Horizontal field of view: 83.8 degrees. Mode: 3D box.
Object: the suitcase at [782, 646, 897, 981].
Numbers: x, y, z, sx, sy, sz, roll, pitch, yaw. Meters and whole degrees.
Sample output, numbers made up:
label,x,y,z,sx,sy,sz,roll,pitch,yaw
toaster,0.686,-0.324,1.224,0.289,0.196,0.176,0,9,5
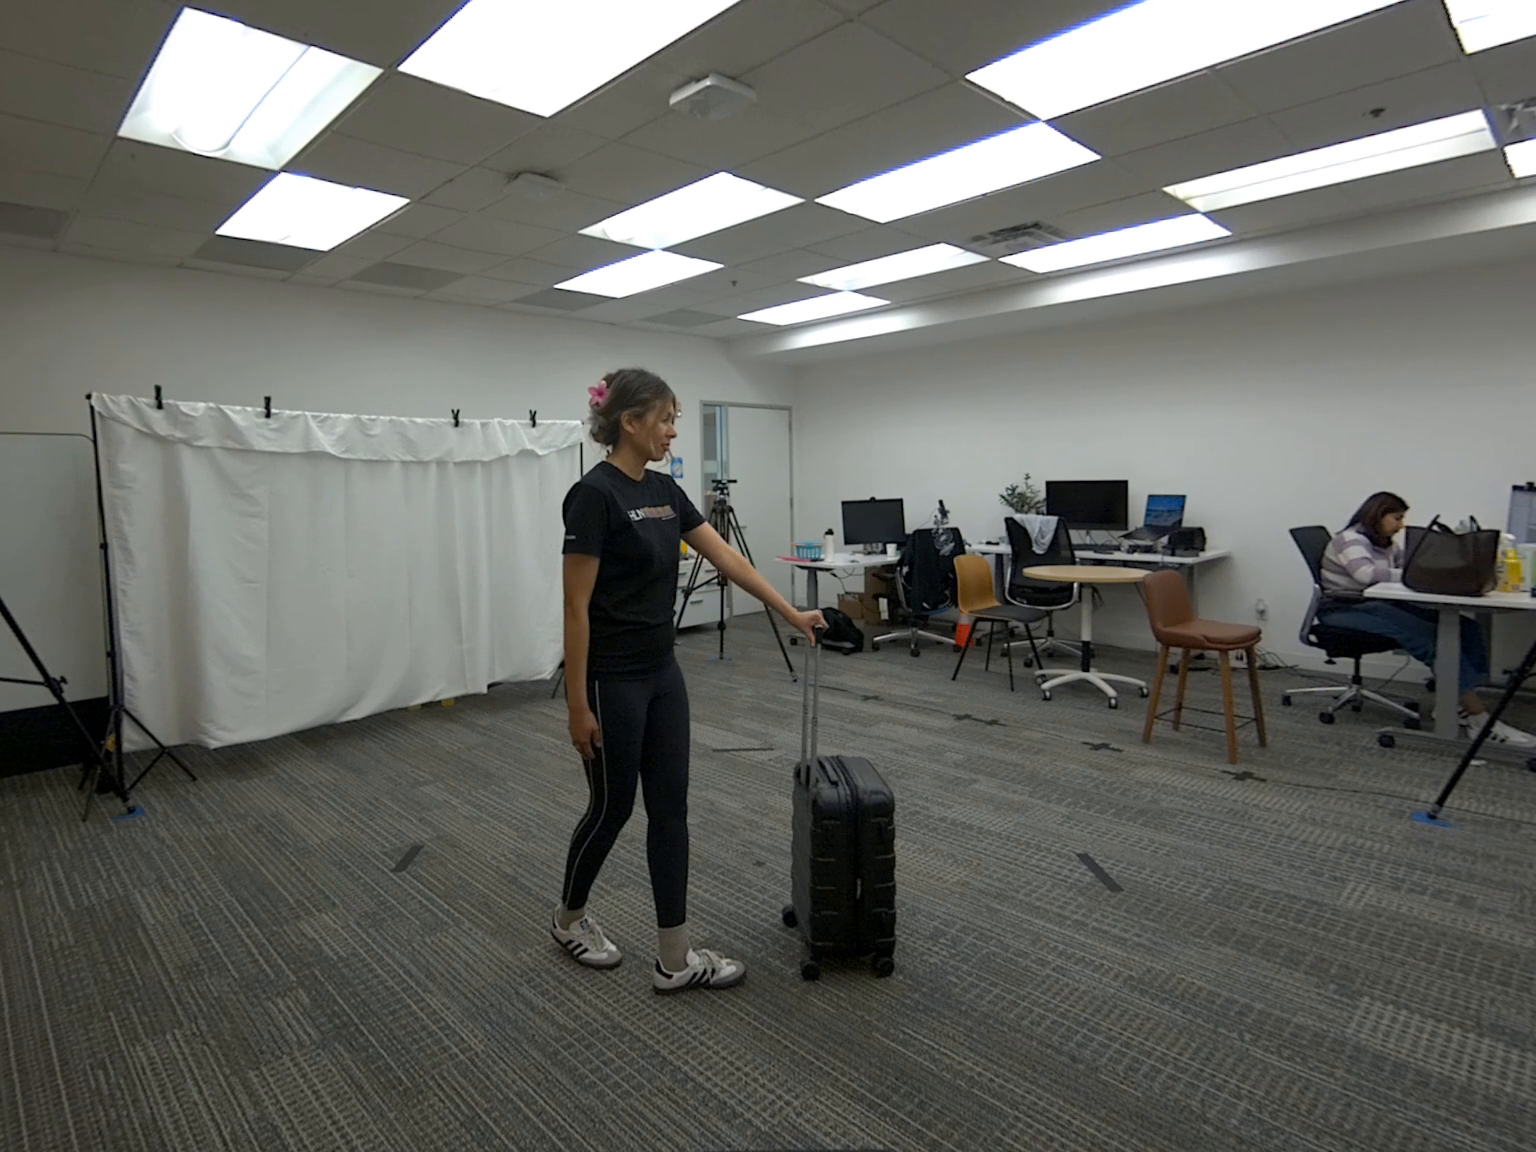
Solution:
label,x,y,z,sx,sy,sz,roll,pitch,yaw
suitcase,0.224,0.636,2.521,0.256,0.975,0.387,2,4,-6
